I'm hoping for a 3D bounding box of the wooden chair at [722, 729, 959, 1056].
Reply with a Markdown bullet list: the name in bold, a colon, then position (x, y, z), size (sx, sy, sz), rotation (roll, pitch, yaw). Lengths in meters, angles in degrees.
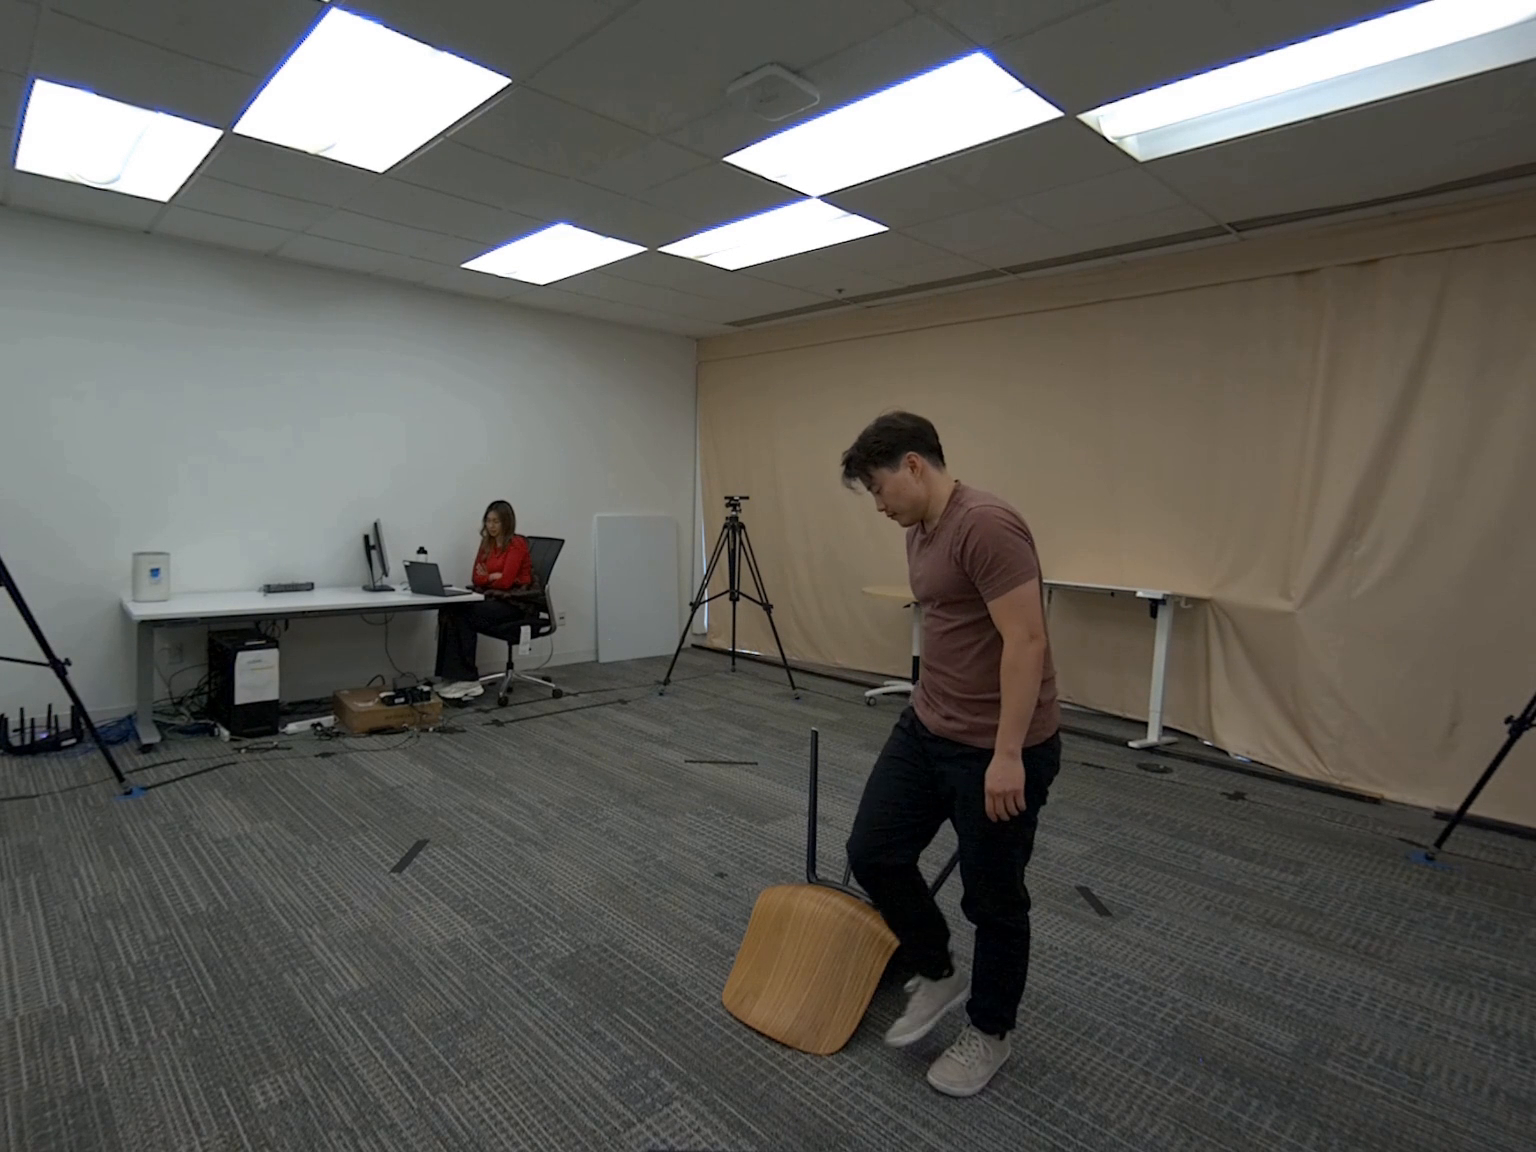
- **wooden chair**: position (0.268, 0.997, 2.538), size (0.490, 0.883, 0.507), rotation (5, -35, 37)
